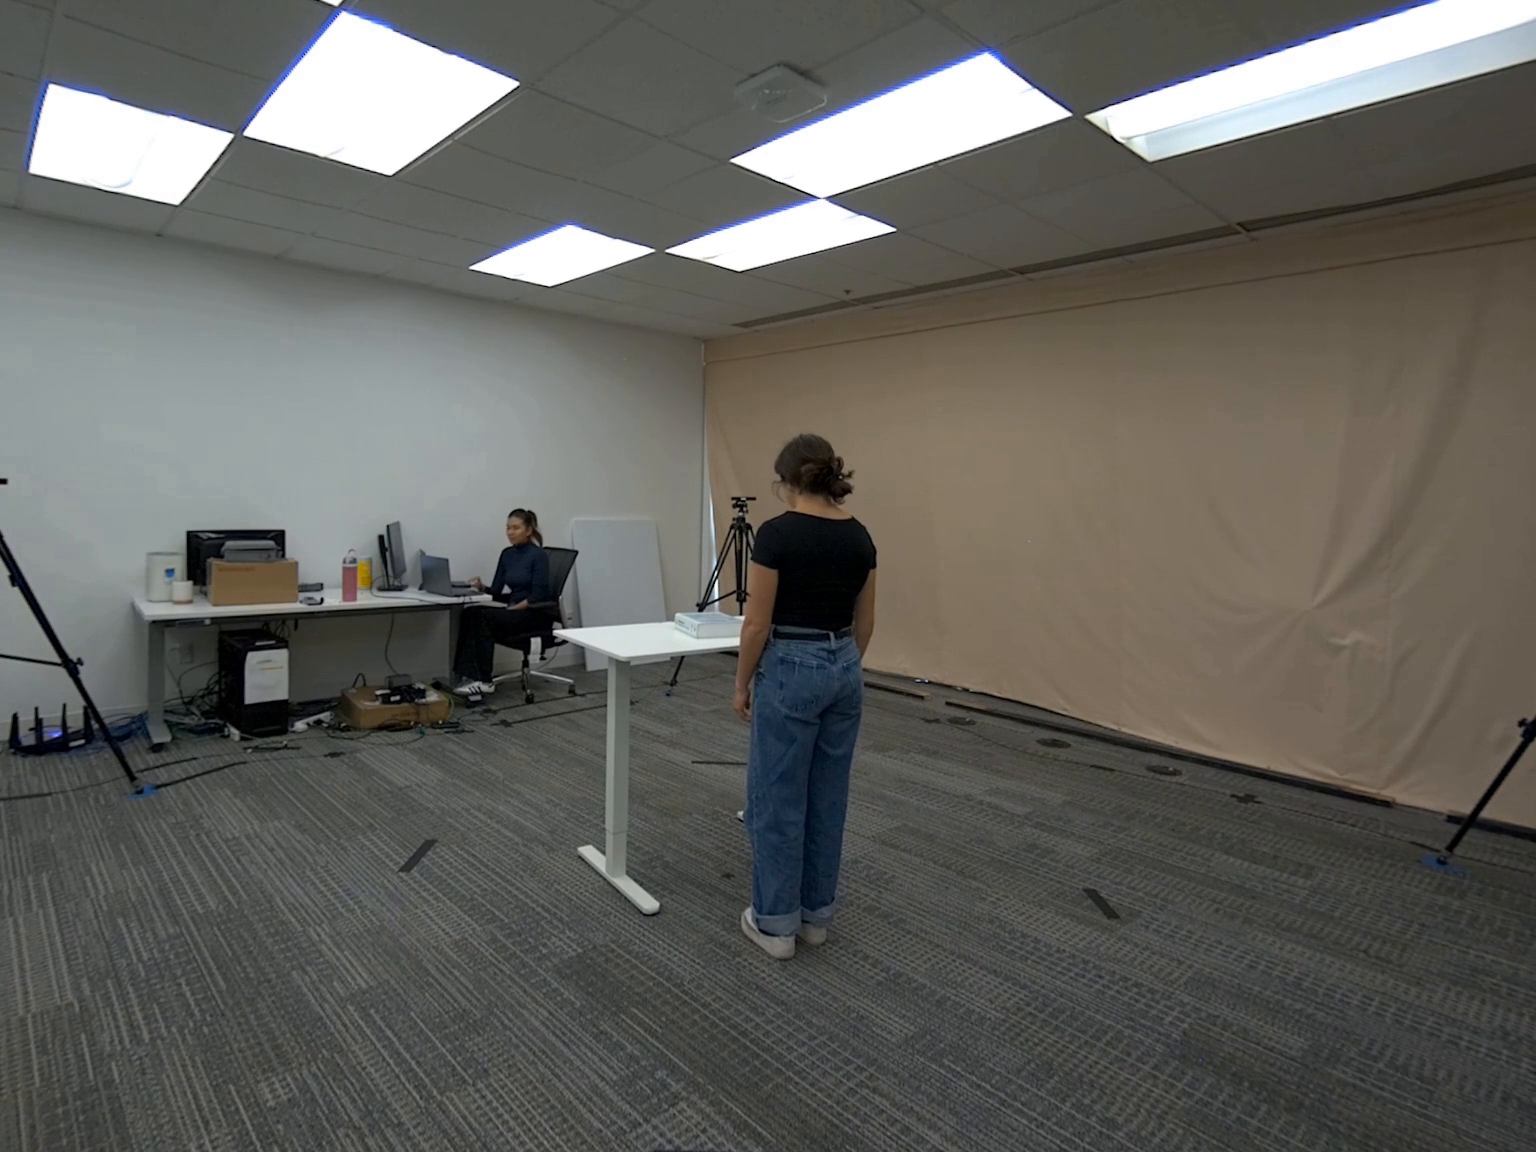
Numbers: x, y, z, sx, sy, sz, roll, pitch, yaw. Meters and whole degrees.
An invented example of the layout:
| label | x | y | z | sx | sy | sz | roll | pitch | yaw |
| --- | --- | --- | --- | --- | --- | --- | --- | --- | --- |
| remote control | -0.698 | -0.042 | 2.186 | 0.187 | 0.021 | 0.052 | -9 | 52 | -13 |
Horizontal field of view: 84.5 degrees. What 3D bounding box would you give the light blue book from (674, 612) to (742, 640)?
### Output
| label | x | y | z | sx | sy | sz | roll | pitch | yaw |
| --- | --- | --- | --- | --- | --- | --- | --- | --- | --- |
| light blue book | -0.229 | 0.184 | 3.215 | 0.188 | 0.059 | 0.266 | -1 | 6 | -24 |
